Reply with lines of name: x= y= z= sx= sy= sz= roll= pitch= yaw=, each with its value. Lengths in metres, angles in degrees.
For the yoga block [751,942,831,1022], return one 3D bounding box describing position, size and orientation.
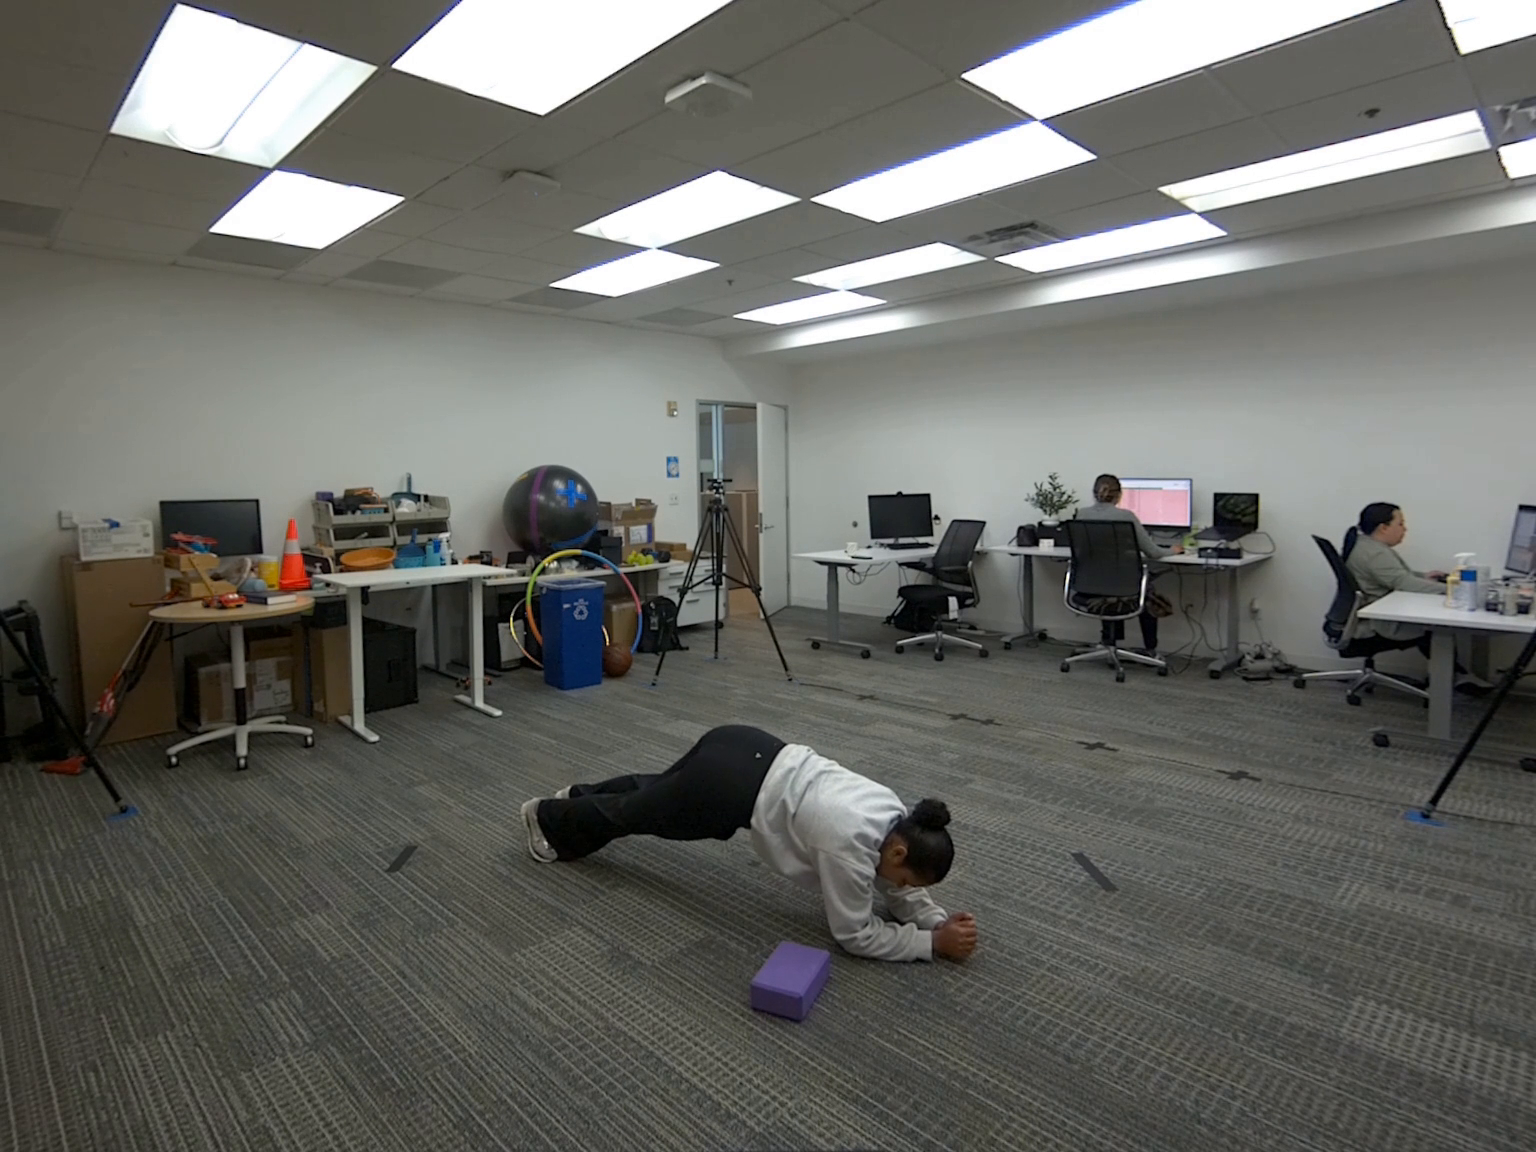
yoga block: x=0.071 y=1.101 z=2.317 sx=0.152 sy=0.076 sz=0.225 roll=2 pitch=7 yaw=24
